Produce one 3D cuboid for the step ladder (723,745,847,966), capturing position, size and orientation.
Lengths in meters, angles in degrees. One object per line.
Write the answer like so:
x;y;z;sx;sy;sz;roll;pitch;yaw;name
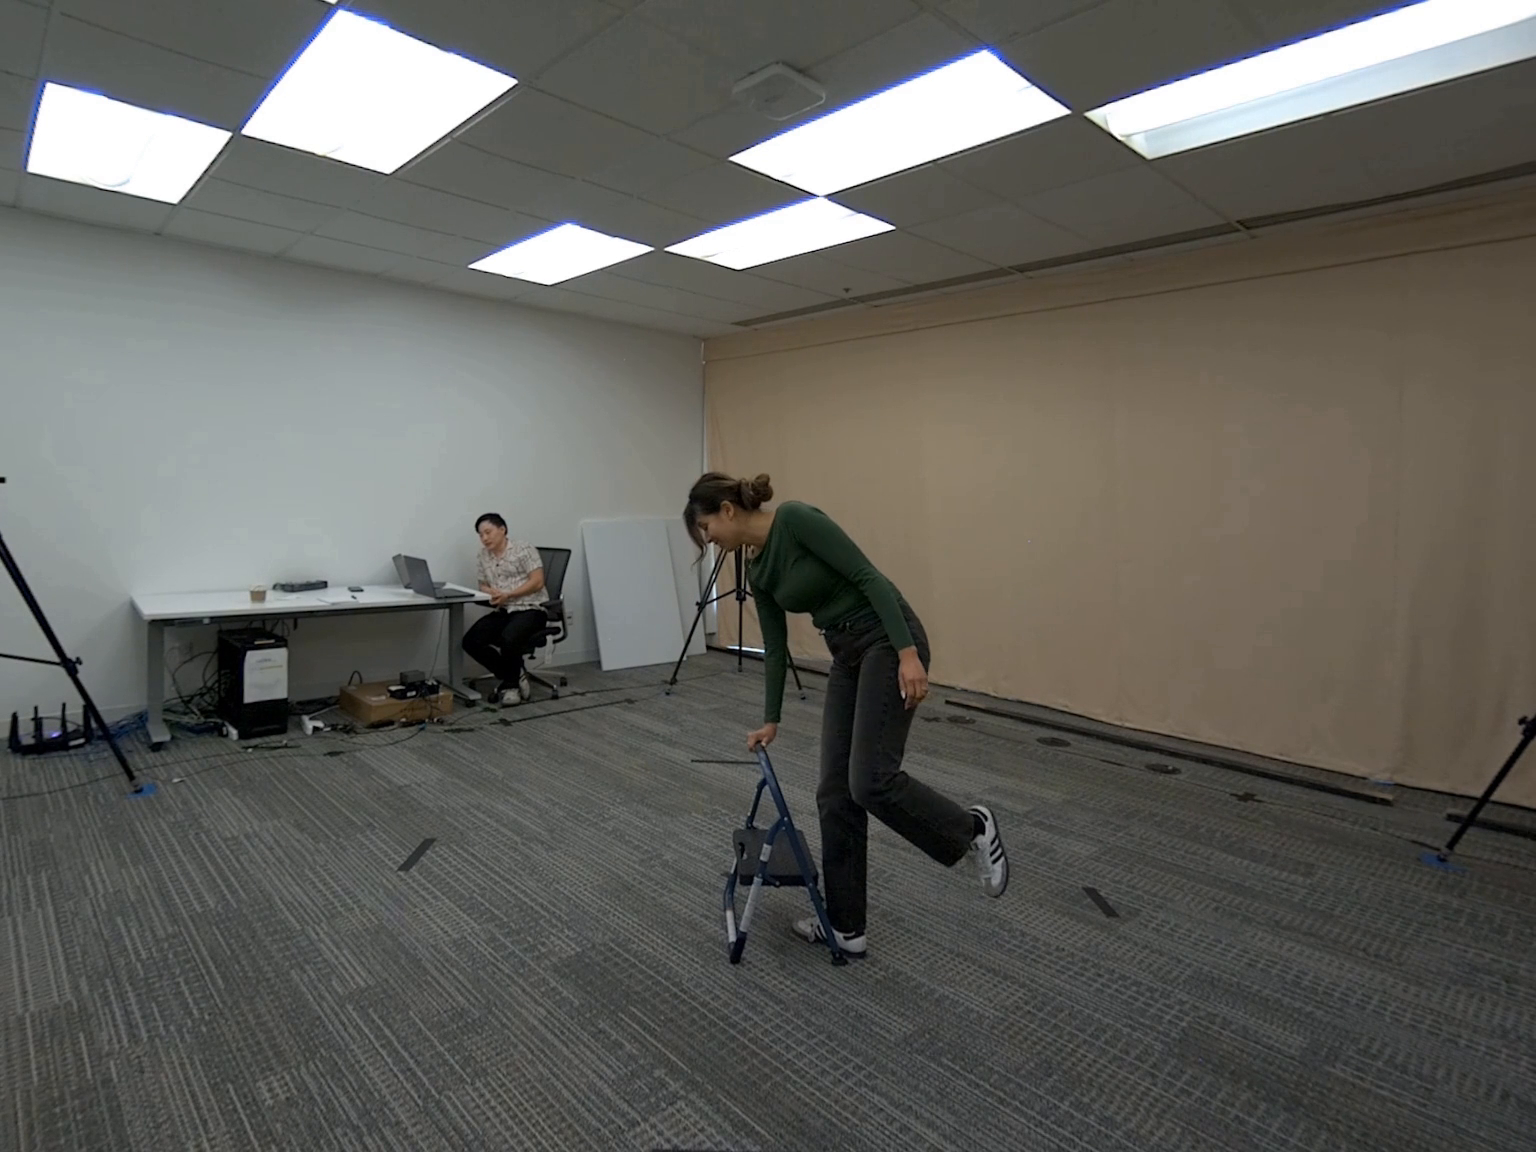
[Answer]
0.031;0.842;2.703;0.348;0.604;0.433;1;4;-5;step ladder
